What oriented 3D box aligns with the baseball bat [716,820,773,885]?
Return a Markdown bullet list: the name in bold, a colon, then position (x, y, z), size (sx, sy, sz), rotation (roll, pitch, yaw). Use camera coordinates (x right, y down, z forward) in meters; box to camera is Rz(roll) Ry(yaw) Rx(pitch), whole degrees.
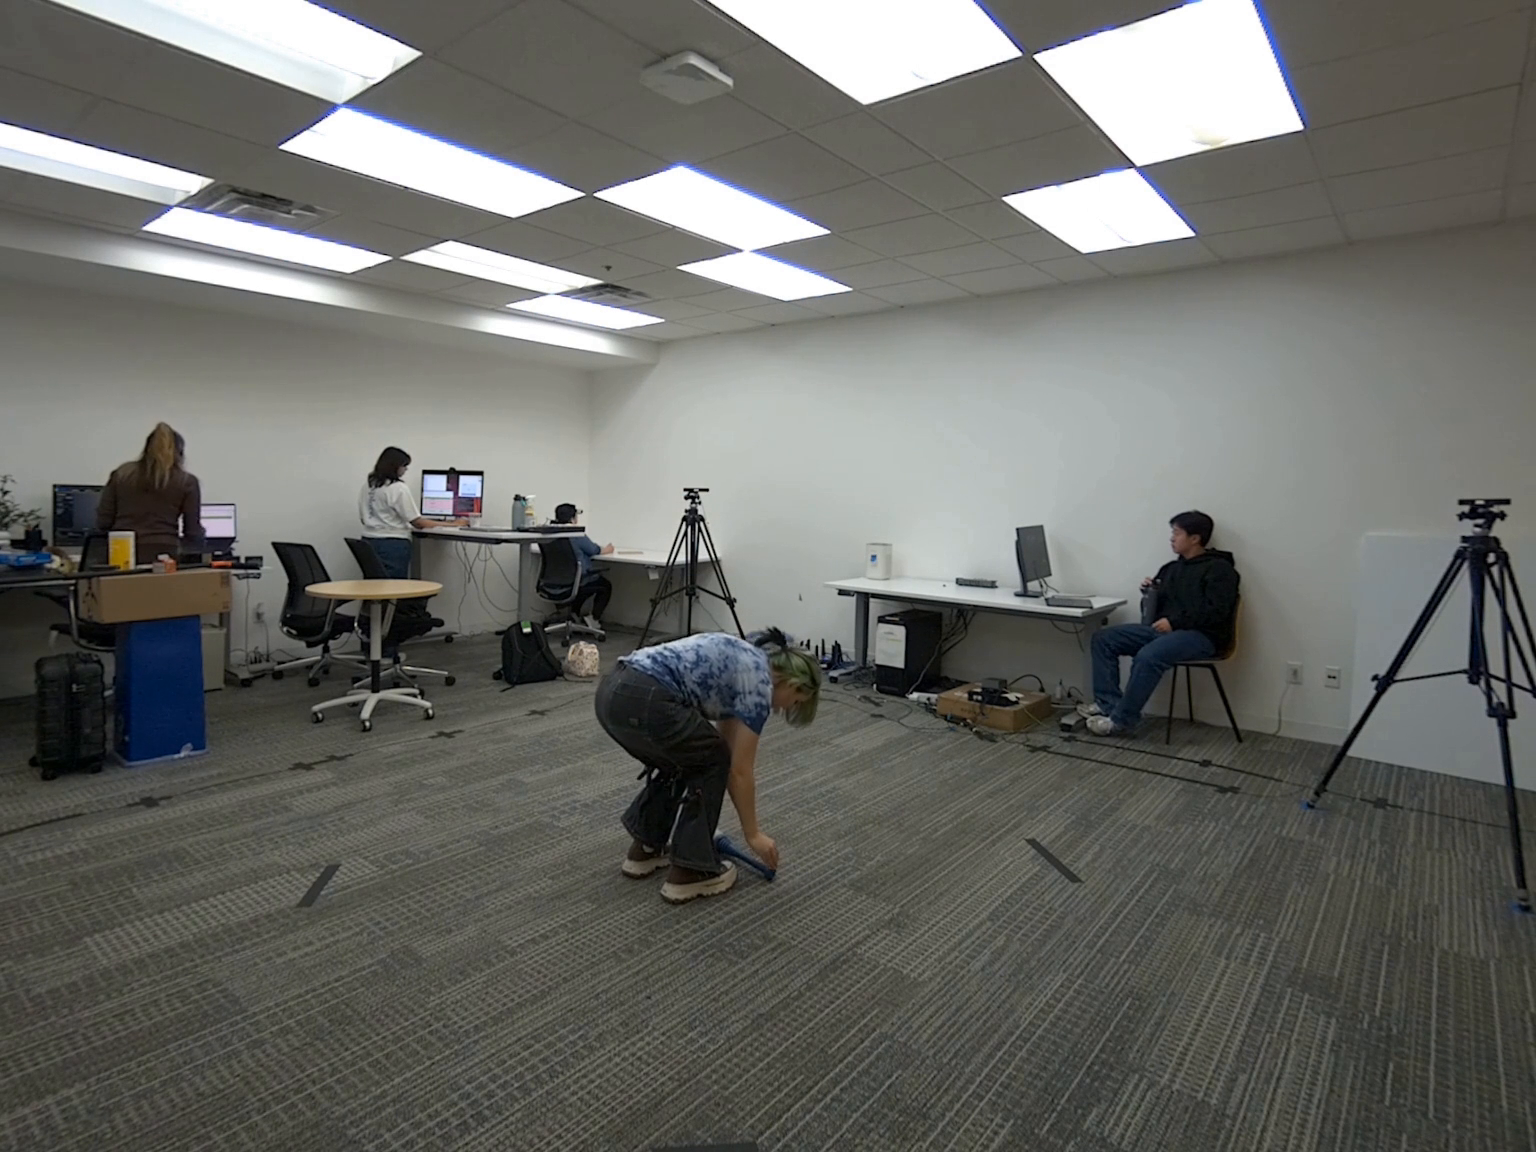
- **baseball bat**: position (-0.189, 1.013, 3.222), size (0.086, 0.088, 0.562), rotation (-2, 8, -37)
